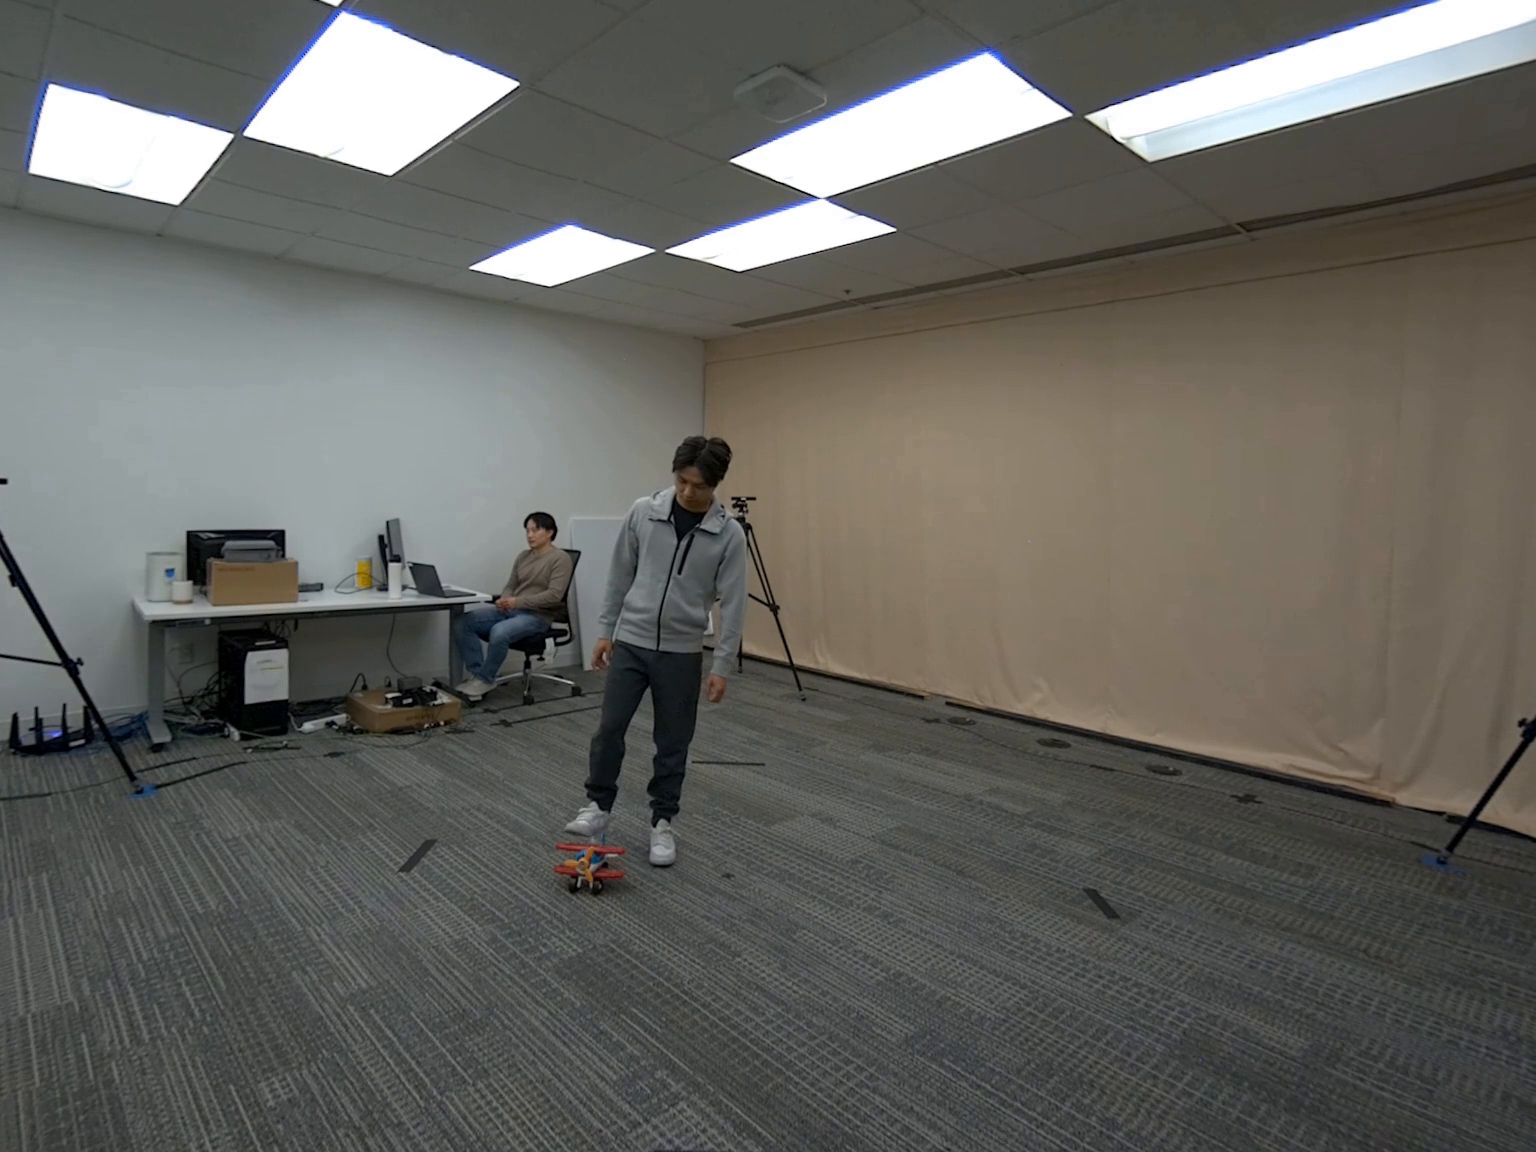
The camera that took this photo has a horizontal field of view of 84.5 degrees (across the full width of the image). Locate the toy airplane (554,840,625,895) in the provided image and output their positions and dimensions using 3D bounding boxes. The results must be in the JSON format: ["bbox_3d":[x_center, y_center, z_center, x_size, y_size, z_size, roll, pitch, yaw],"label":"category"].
[{"bbox_3d":[-0.659,1.034,3.023,0.247,0.156,0.264,-1,5,-22],"label":"toy airplane"}]
